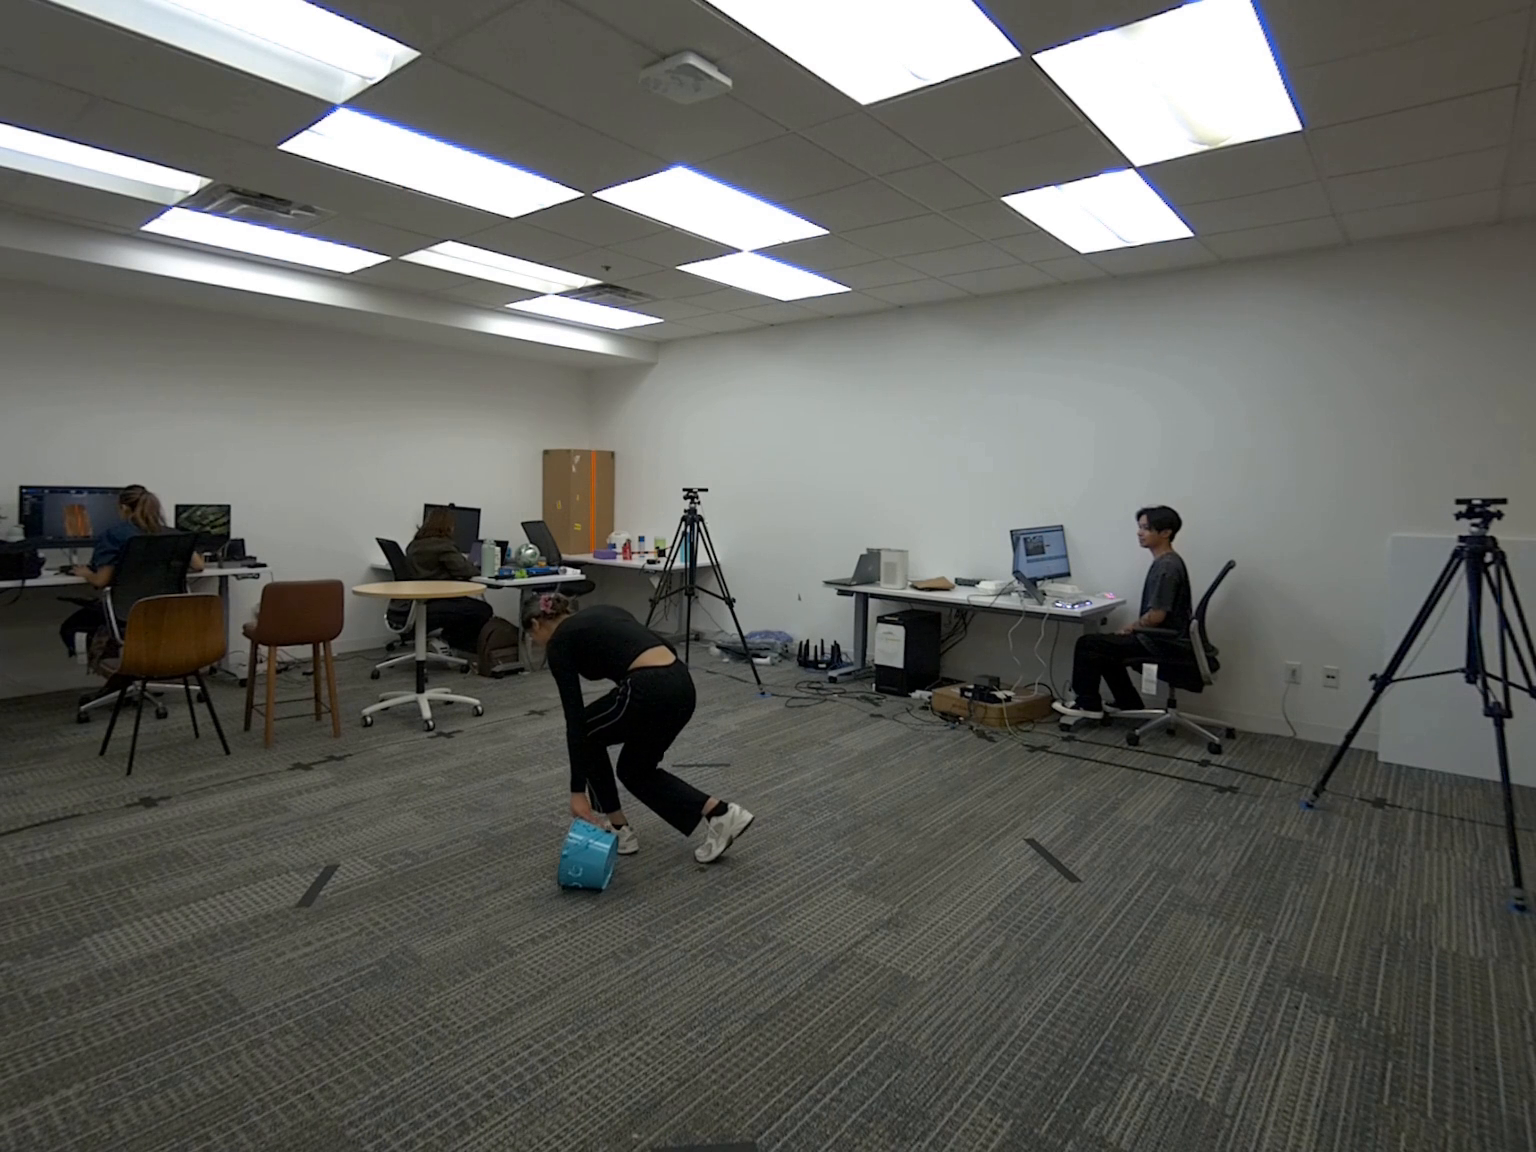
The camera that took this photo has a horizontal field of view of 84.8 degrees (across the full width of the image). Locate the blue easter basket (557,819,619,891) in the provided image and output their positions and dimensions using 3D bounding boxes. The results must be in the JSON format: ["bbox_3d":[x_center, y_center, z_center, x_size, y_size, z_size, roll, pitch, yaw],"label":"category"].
[{"bbox_3d":[-0.637,0.969,2.957,0.157,0.243,0.242,9,5,6],"label":"blue easter basket"}]
